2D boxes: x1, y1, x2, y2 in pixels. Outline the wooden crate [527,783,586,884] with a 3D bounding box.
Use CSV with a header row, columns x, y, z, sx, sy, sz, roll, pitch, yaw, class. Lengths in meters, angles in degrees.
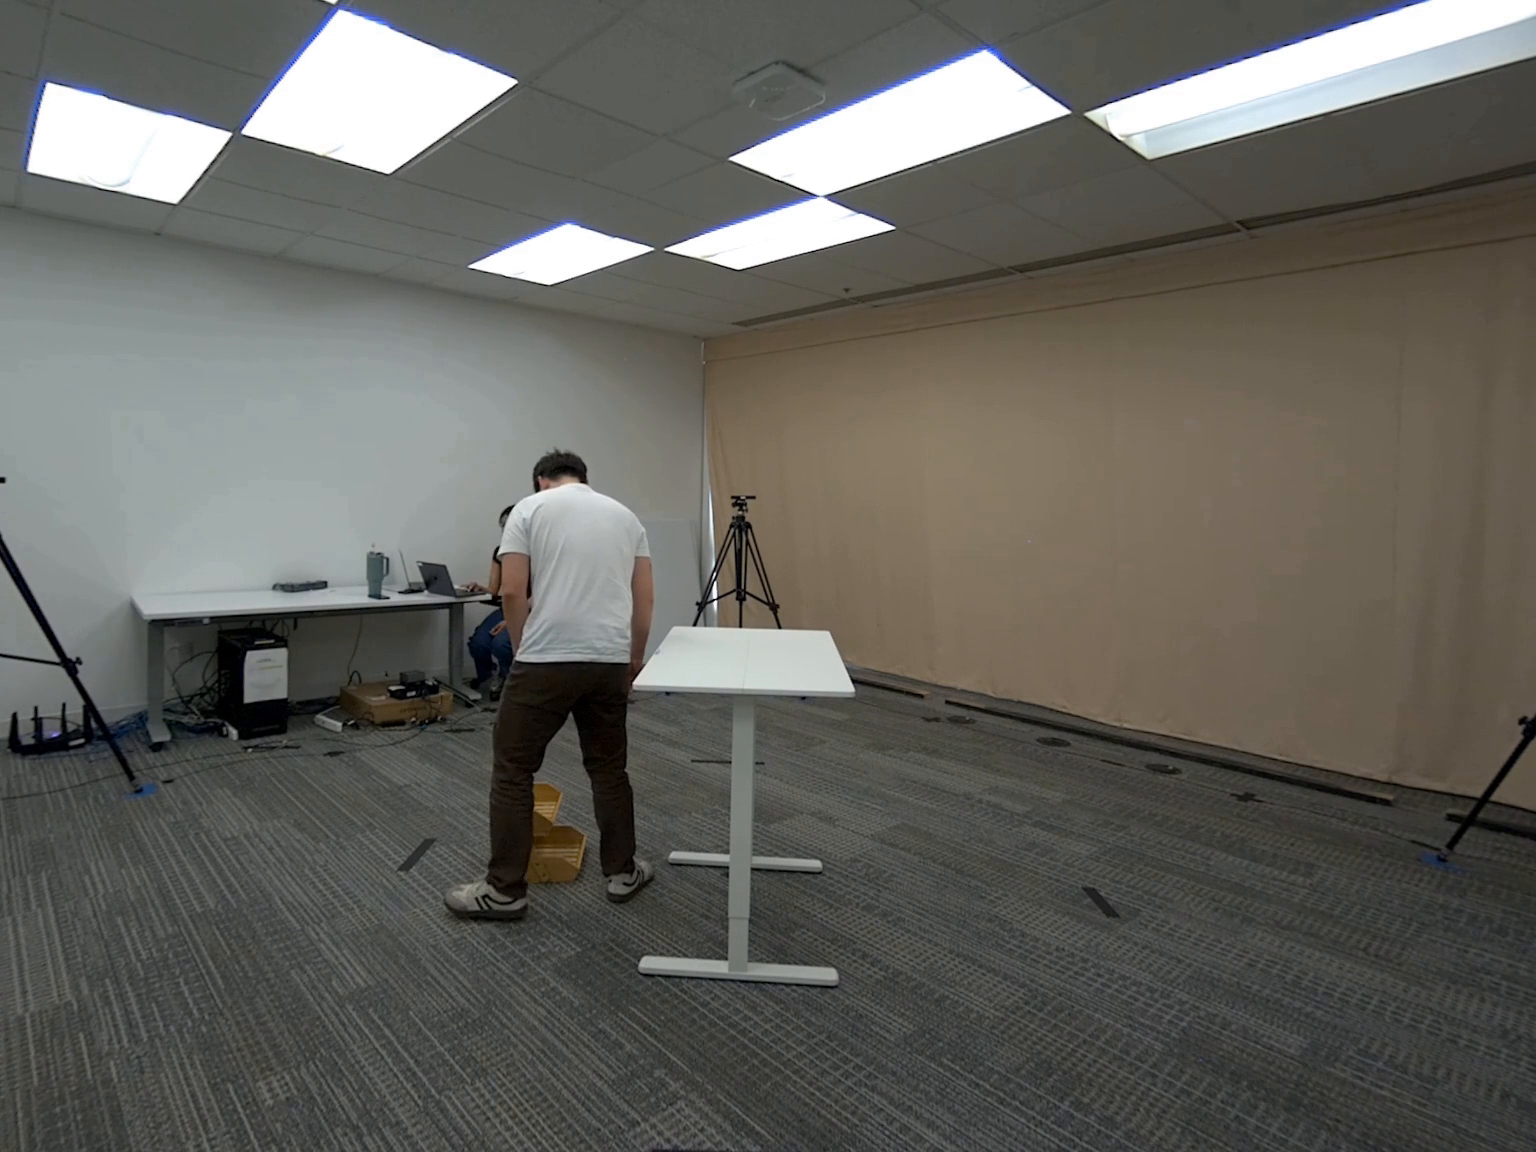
x,y,z,sx,sy,sz,roll,pitch,yaw,class
-0.855,0.958,3.145,0.301,0.272,0.327,-2,4,-6,wooden crate
